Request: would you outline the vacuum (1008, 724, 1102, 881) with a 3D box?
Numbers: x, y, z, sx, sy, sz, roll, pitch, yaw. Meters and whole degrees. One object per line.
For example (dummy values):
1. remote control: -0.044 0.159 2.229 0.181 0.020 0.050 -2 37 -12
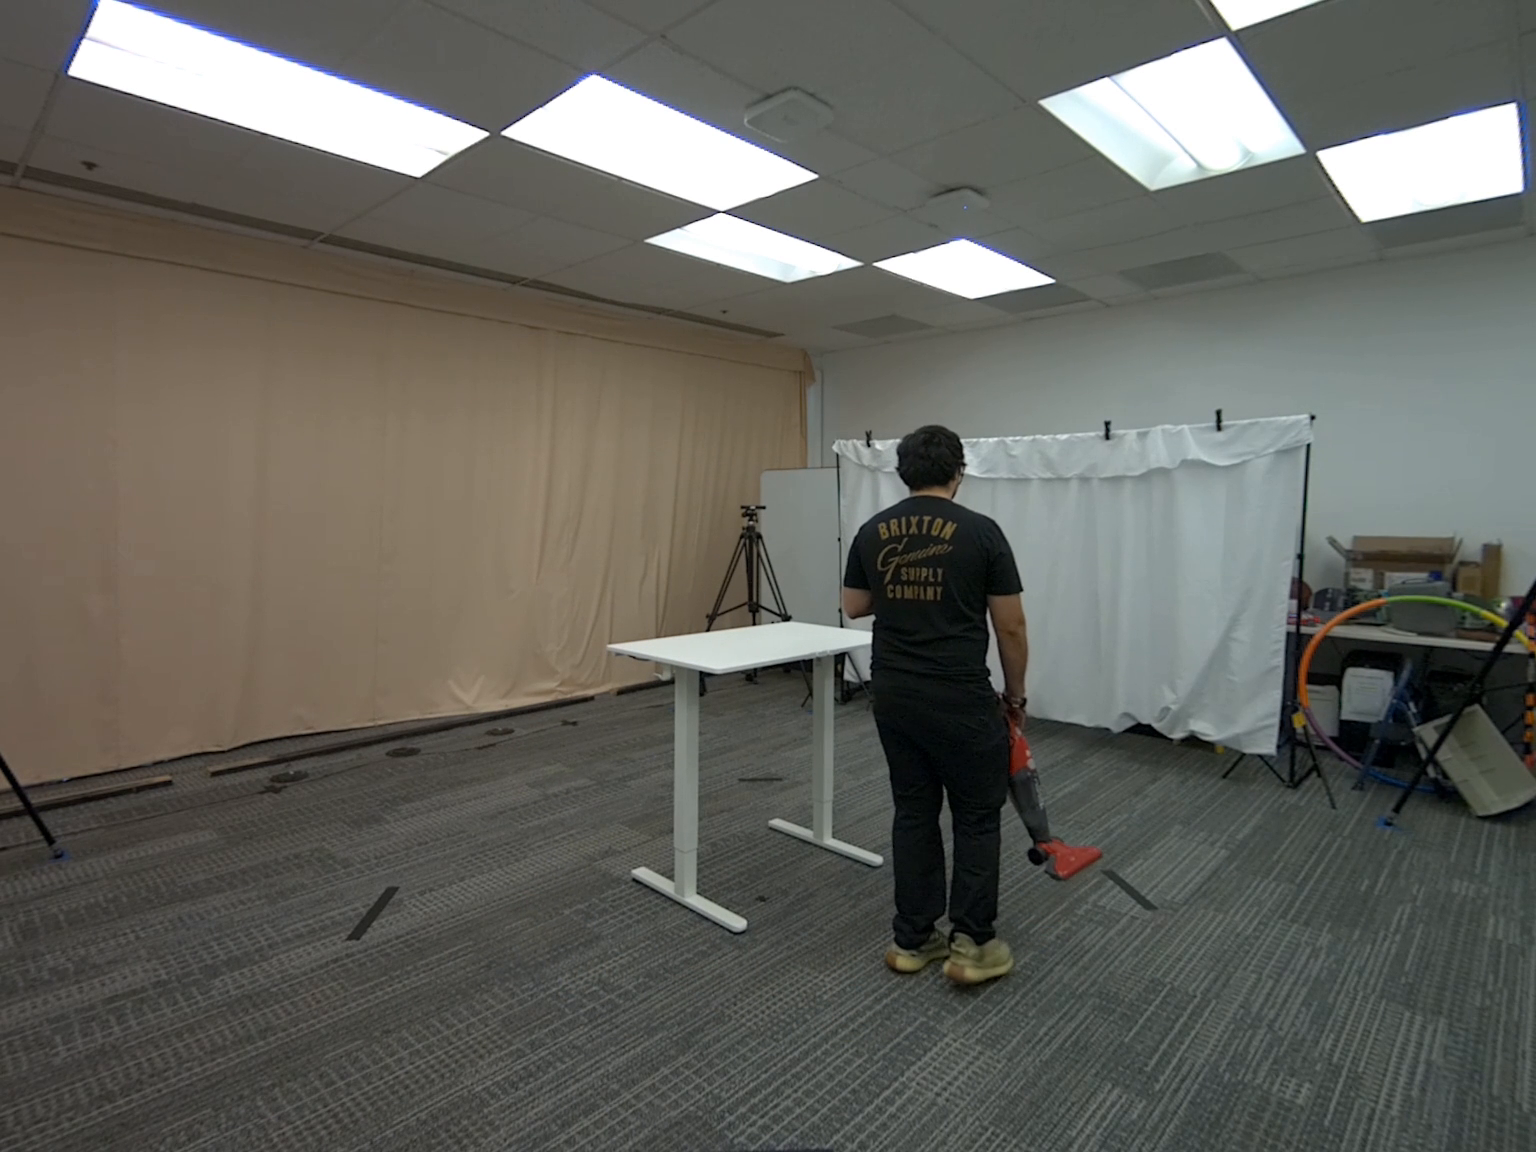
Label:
1. vacuum: 0.720 0.392 2.694 0.244 1.068 0.146 0 -28 -47
